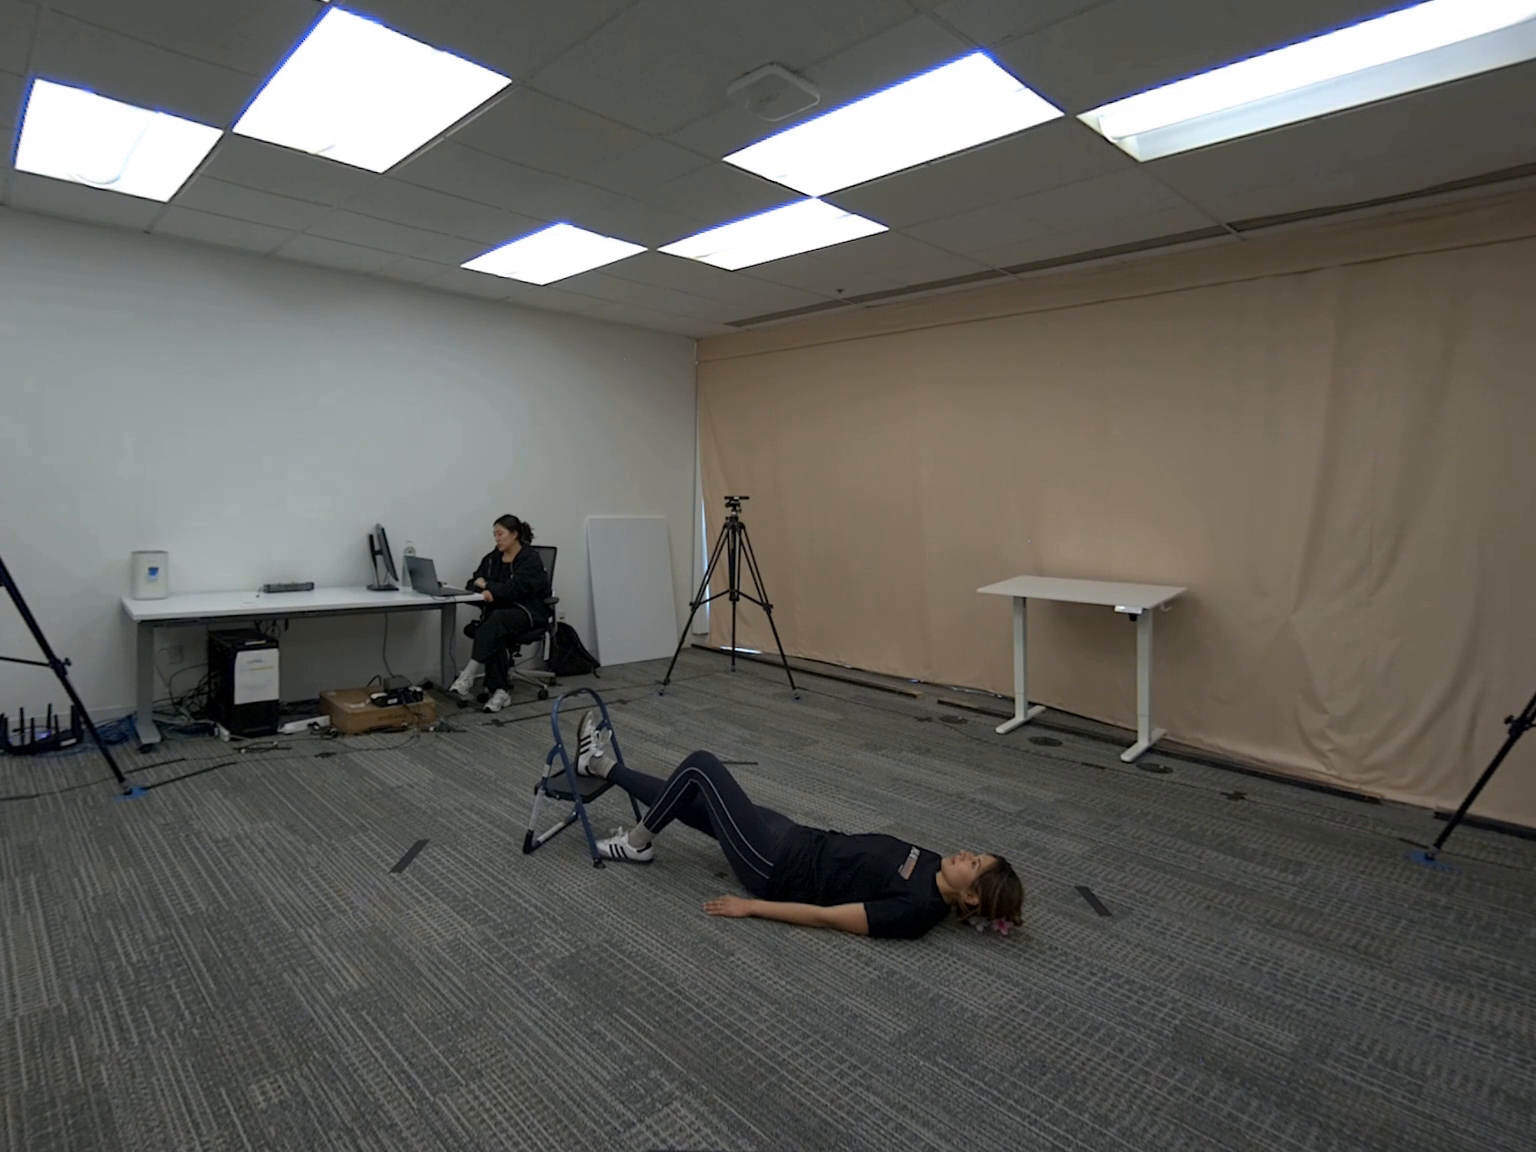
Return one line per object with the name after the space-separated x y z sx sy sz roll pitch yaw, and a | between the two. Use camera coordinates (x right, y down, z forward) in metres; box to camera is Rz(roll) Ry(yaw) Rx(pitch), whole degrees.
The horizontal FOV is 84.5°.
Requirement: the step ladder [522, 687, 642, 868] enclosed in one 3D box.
-0.731 0.765 3.378 0.354 0.604 0.426 2 4 16 | step ladder
